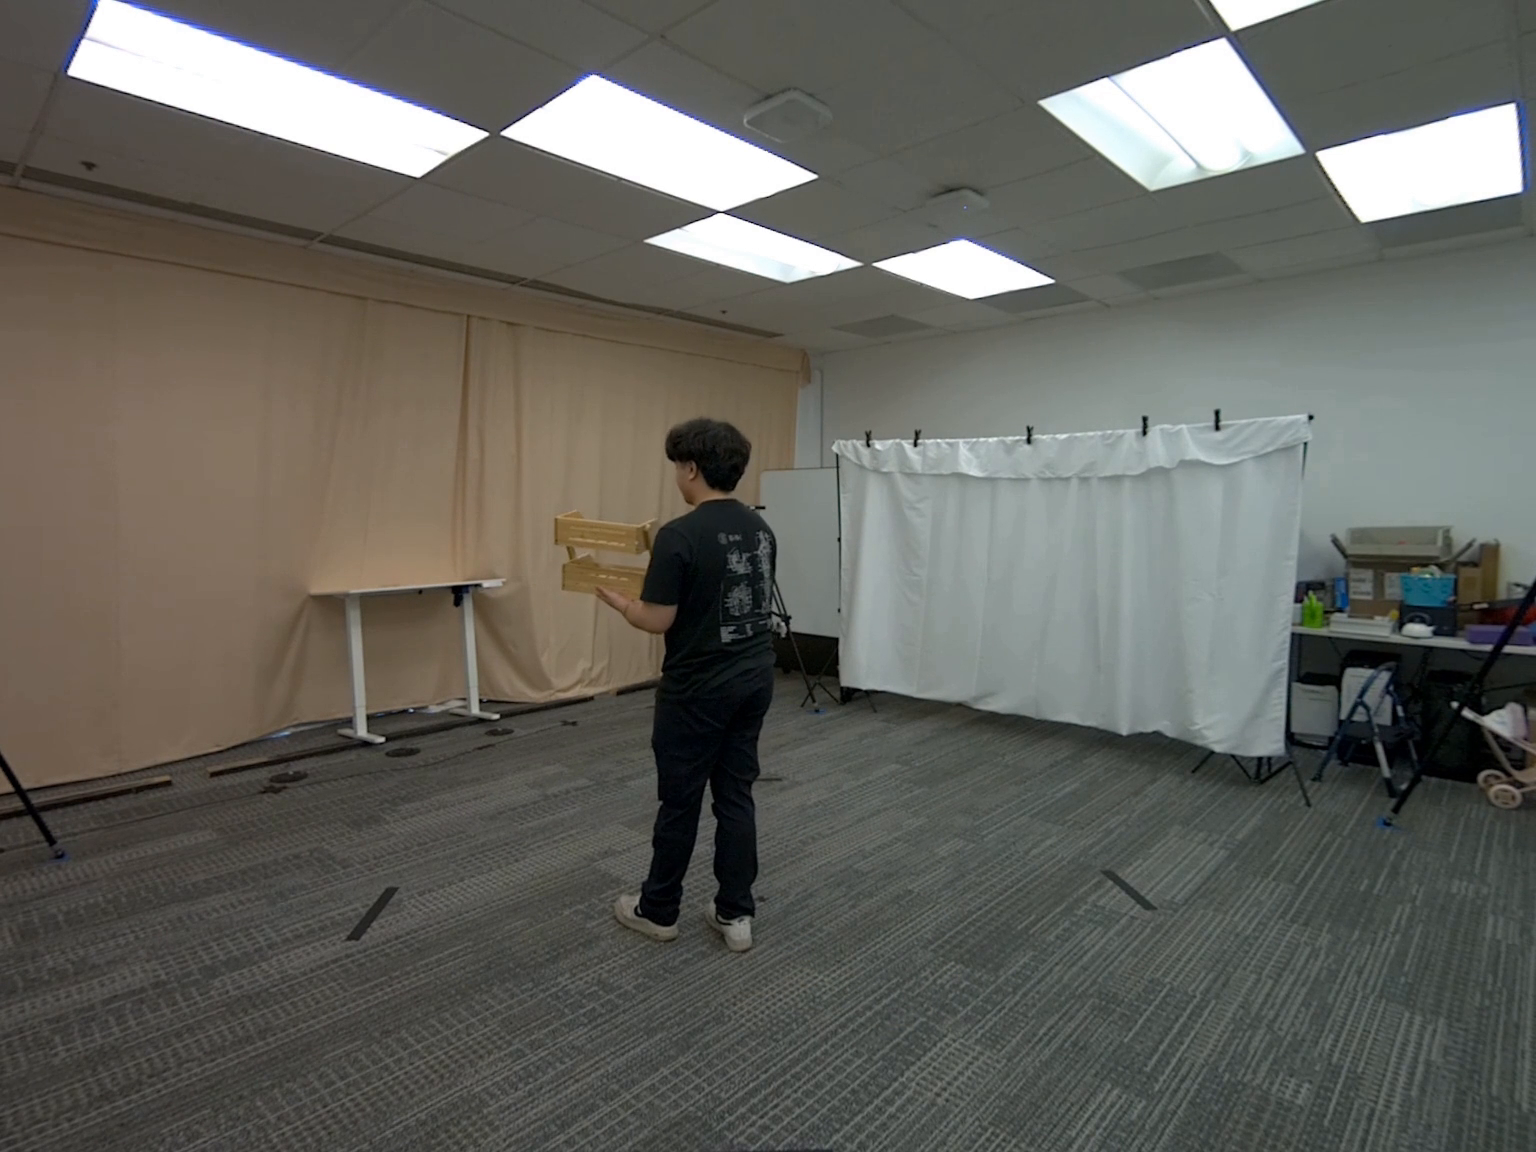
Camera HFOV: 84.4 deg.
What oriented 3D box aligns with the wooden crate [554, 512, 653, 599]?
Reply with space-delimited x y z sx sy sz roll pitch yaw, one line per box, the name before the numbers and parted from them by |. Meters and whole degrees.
wooden crate | -0.519 -0.085 2.865 0.331 0.271 0.298 7 14 16
